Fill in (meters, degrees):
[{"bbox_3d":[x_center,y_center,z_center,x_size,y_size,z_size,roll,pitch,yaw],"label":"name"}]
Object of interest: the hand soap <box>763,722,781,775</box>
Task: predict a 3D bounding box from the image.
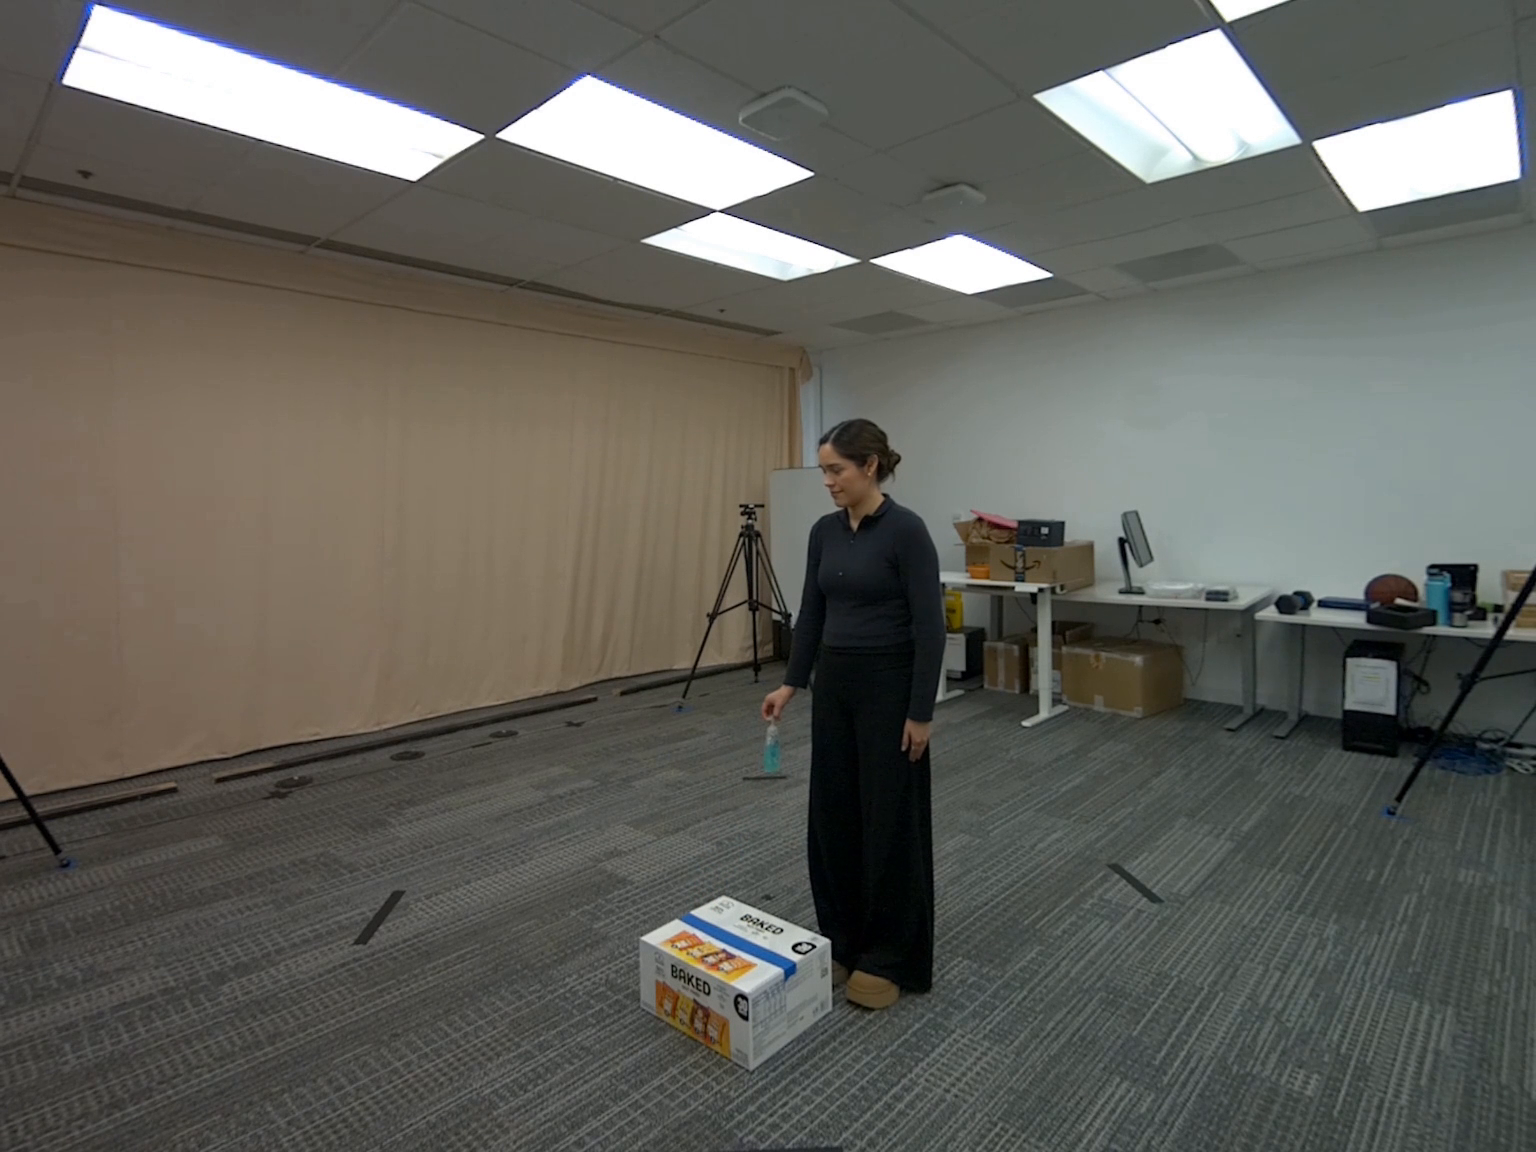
[{"bbox_3d":[0.018,0.517,2.584,0.044,0.168,0.082,1,5,25],"label":"hand soap"}]
